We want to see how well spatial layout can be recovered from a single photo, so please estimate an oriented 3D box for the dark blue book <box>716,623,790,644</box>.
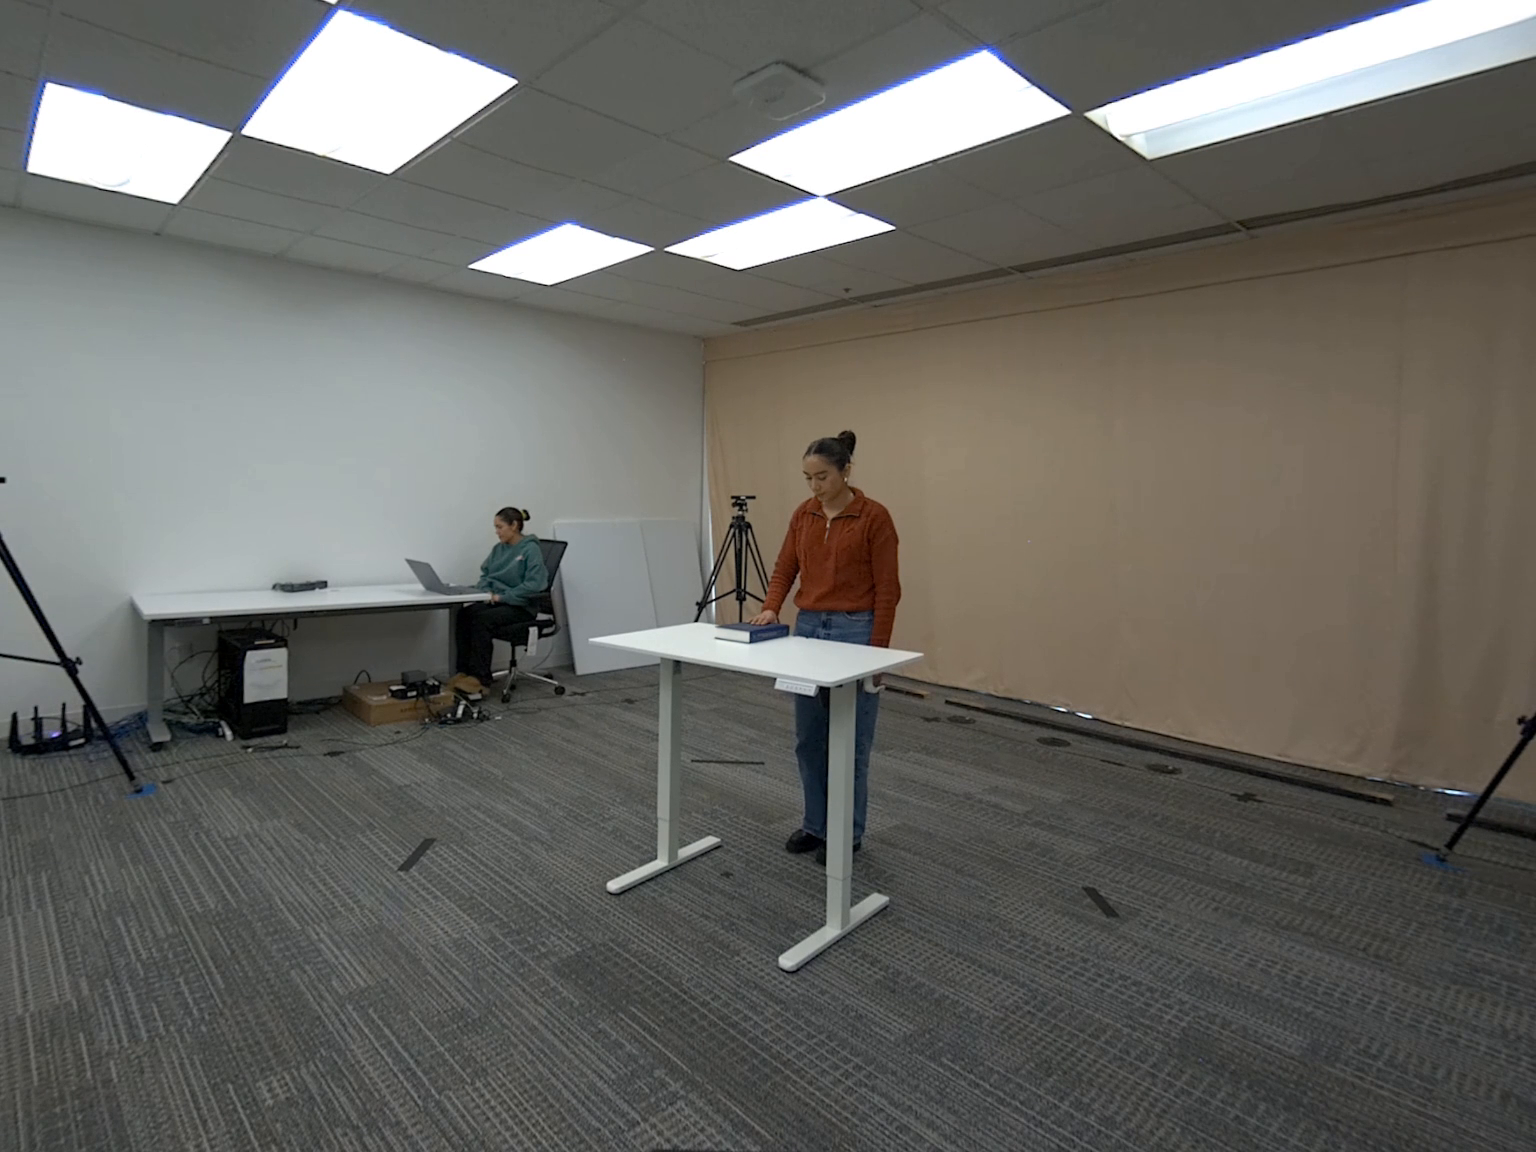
[{"bbox_3d":[-0.070,0.207,3.086,0.167,0.045,0.240,5,5,34],"label":"dark blue book"}]
